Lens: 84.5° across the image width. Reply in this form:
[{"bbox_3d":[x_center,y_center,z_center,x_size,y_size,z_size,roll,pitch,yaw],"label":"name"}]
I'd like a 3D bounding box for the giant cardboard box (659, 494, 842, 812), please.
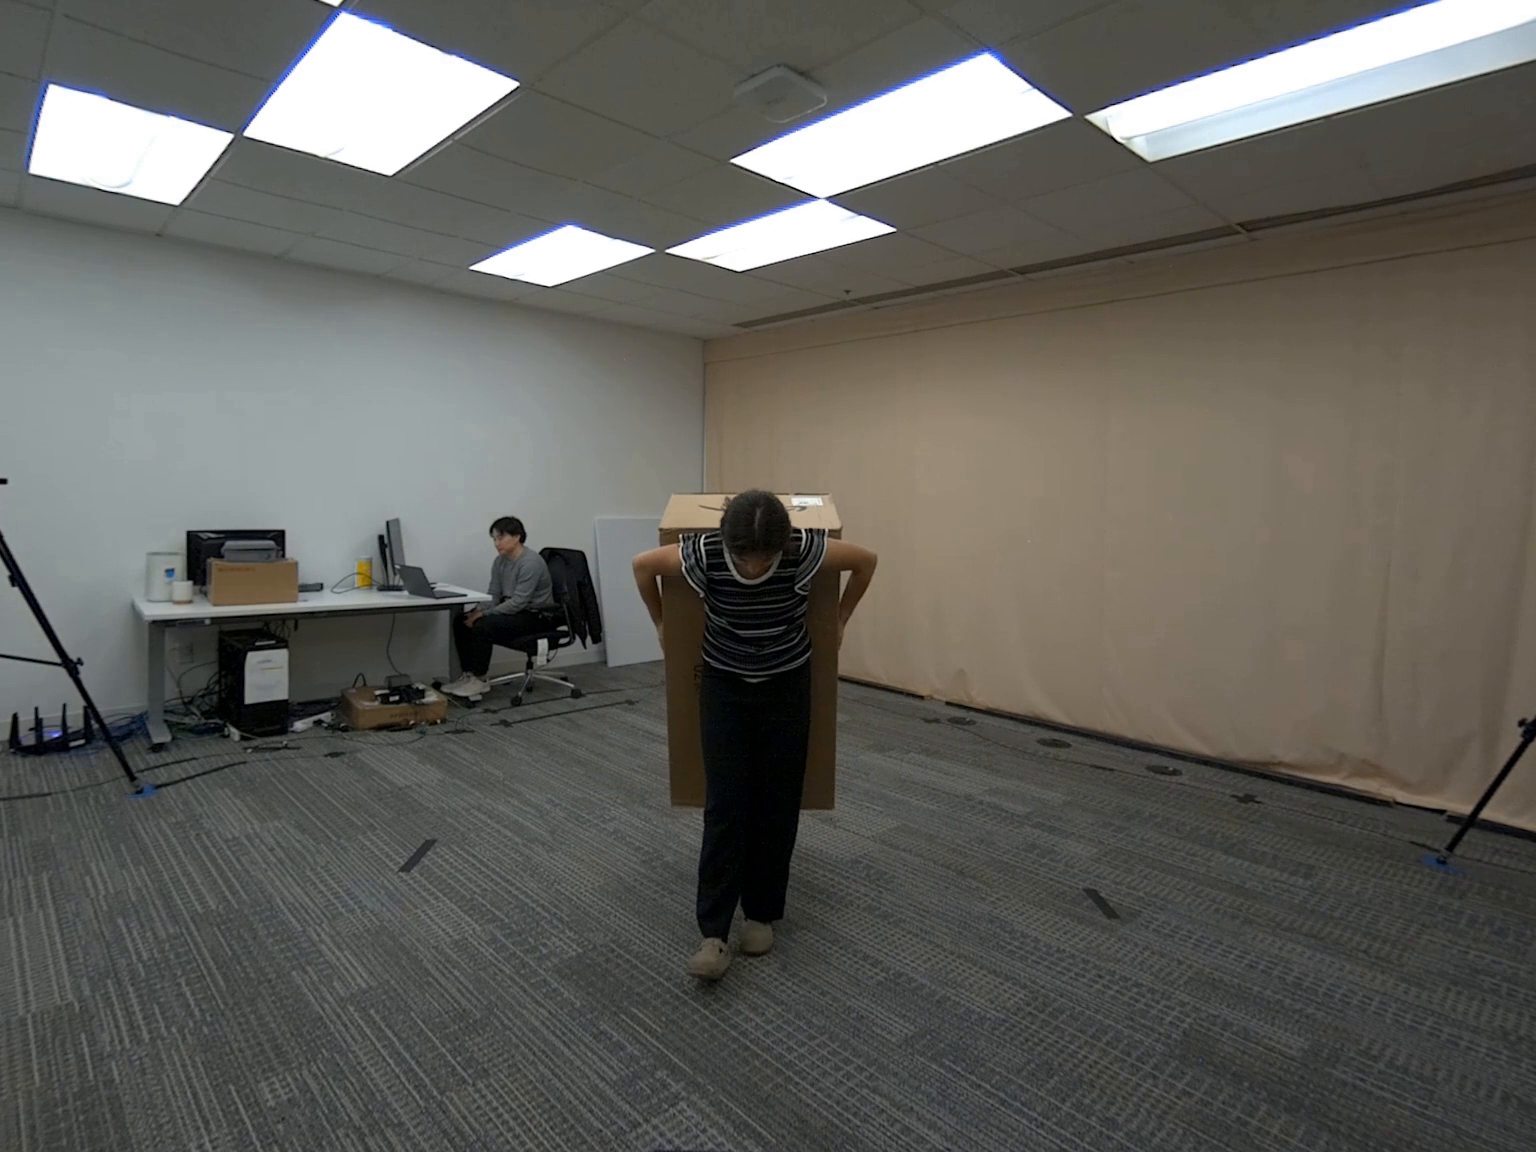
[{"bbox_3d":[-0.066,0.258,2.953,0.578,1.013,0.431,1,18,1],"label":"giant cardboard box"}]
